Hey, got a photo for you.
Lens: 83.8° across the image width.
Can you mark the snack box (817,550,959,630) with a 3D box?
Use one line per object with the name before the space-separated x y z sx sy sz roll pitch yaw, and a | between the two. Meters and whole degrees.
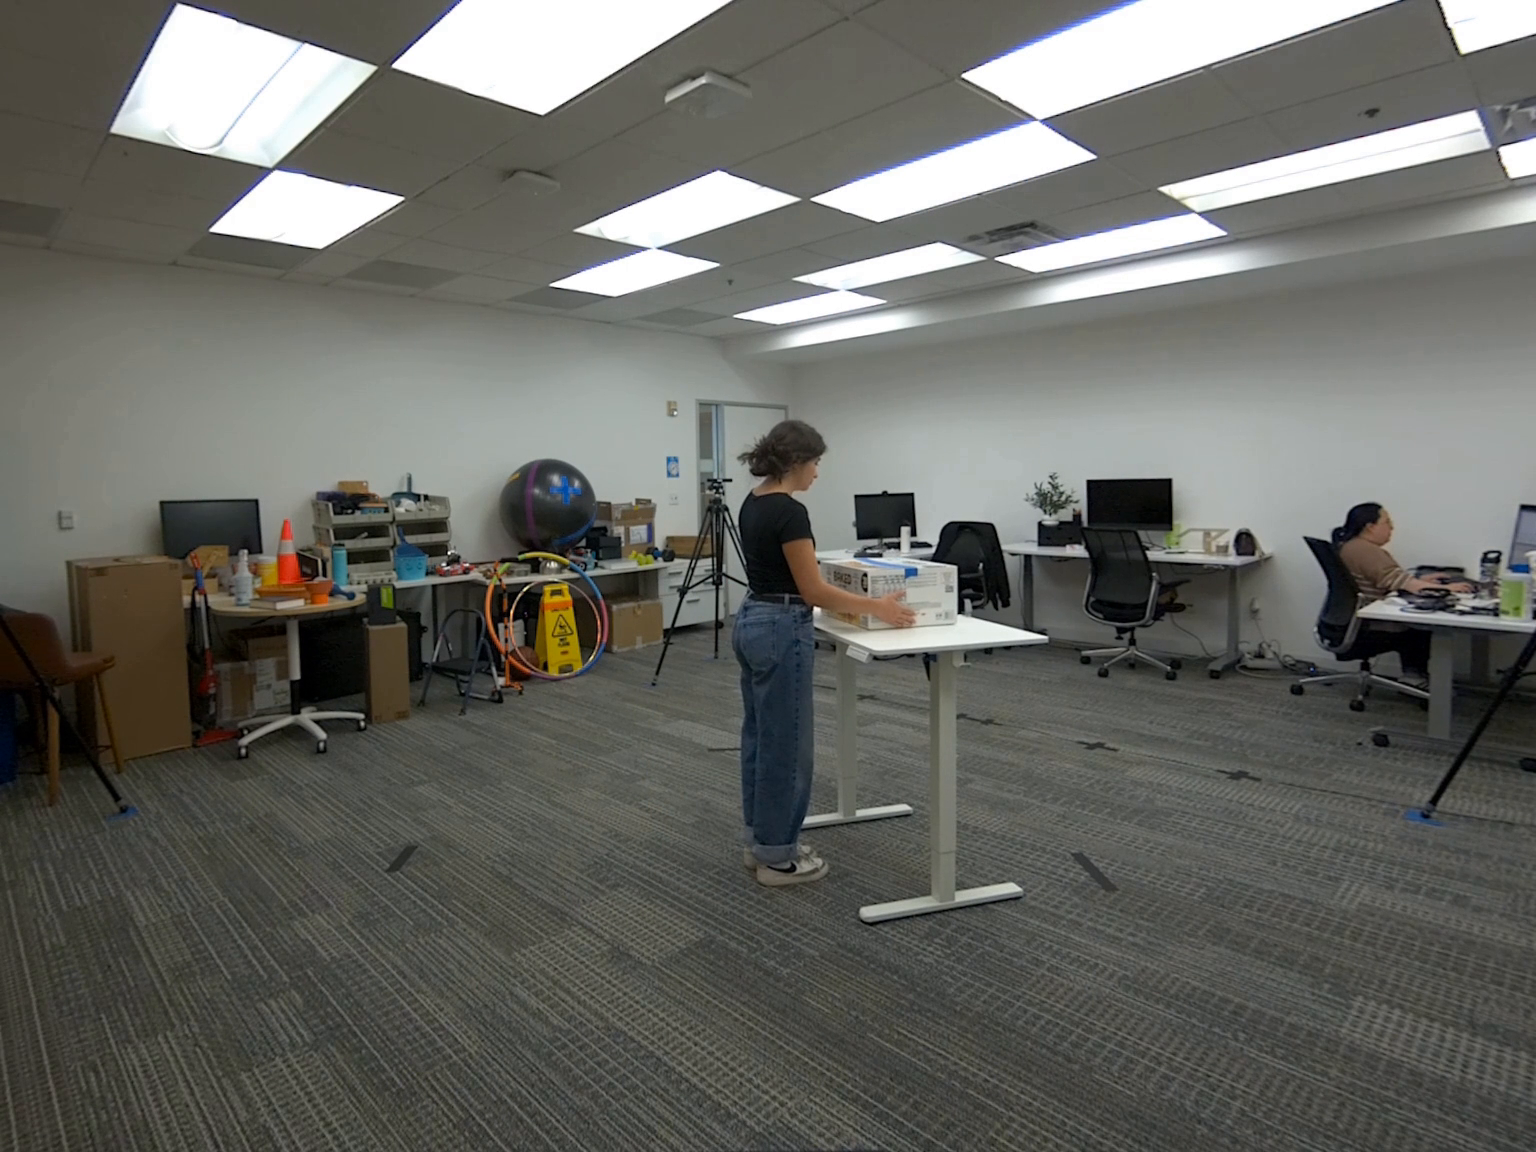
snack box | 0.423 0.055 3.084 0.335 0.205 0.413 -3 6 -19
